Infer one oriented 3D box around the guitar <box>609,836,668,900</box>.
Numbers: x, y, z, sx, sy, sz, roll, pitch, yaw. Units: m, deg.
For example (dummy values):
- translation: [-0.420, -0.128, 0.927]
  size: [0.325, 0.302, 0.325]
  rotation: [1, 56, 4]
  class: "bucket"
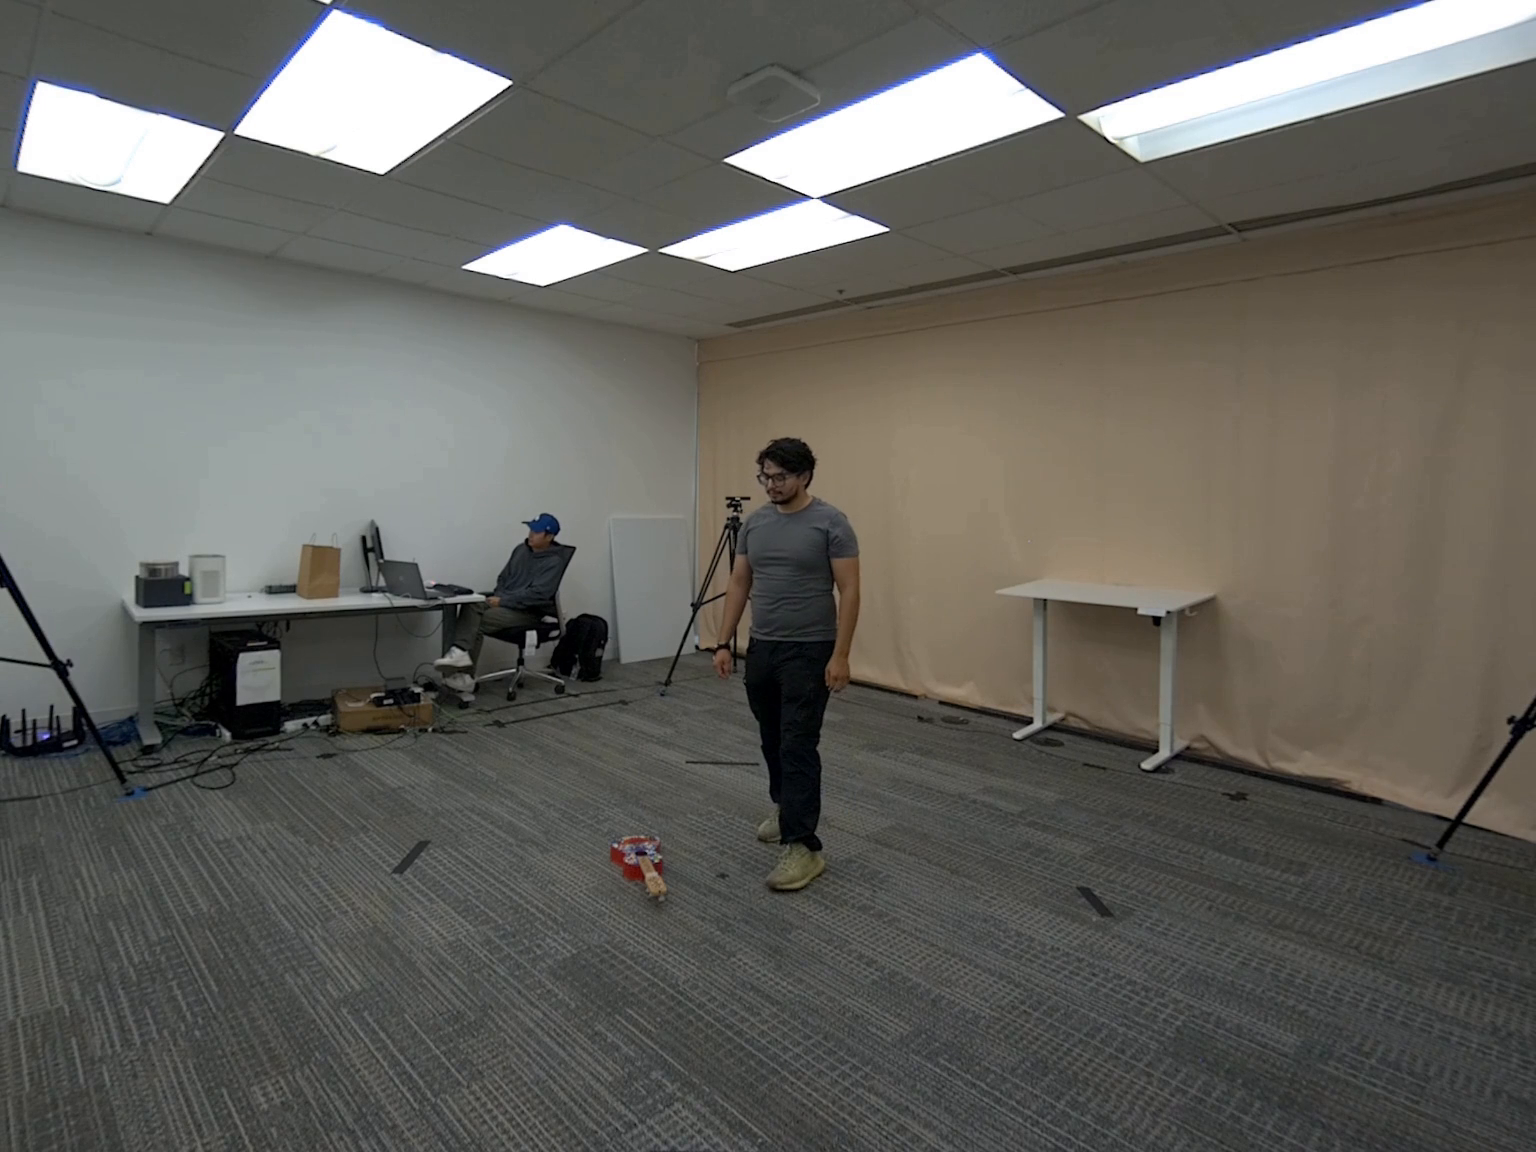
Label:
- translation: [-0.484, 1.071, 3.065]
  size: [0.191, 0.070, 0.503]
  rotation: [1, 5, -10]
  class: "guitar"
